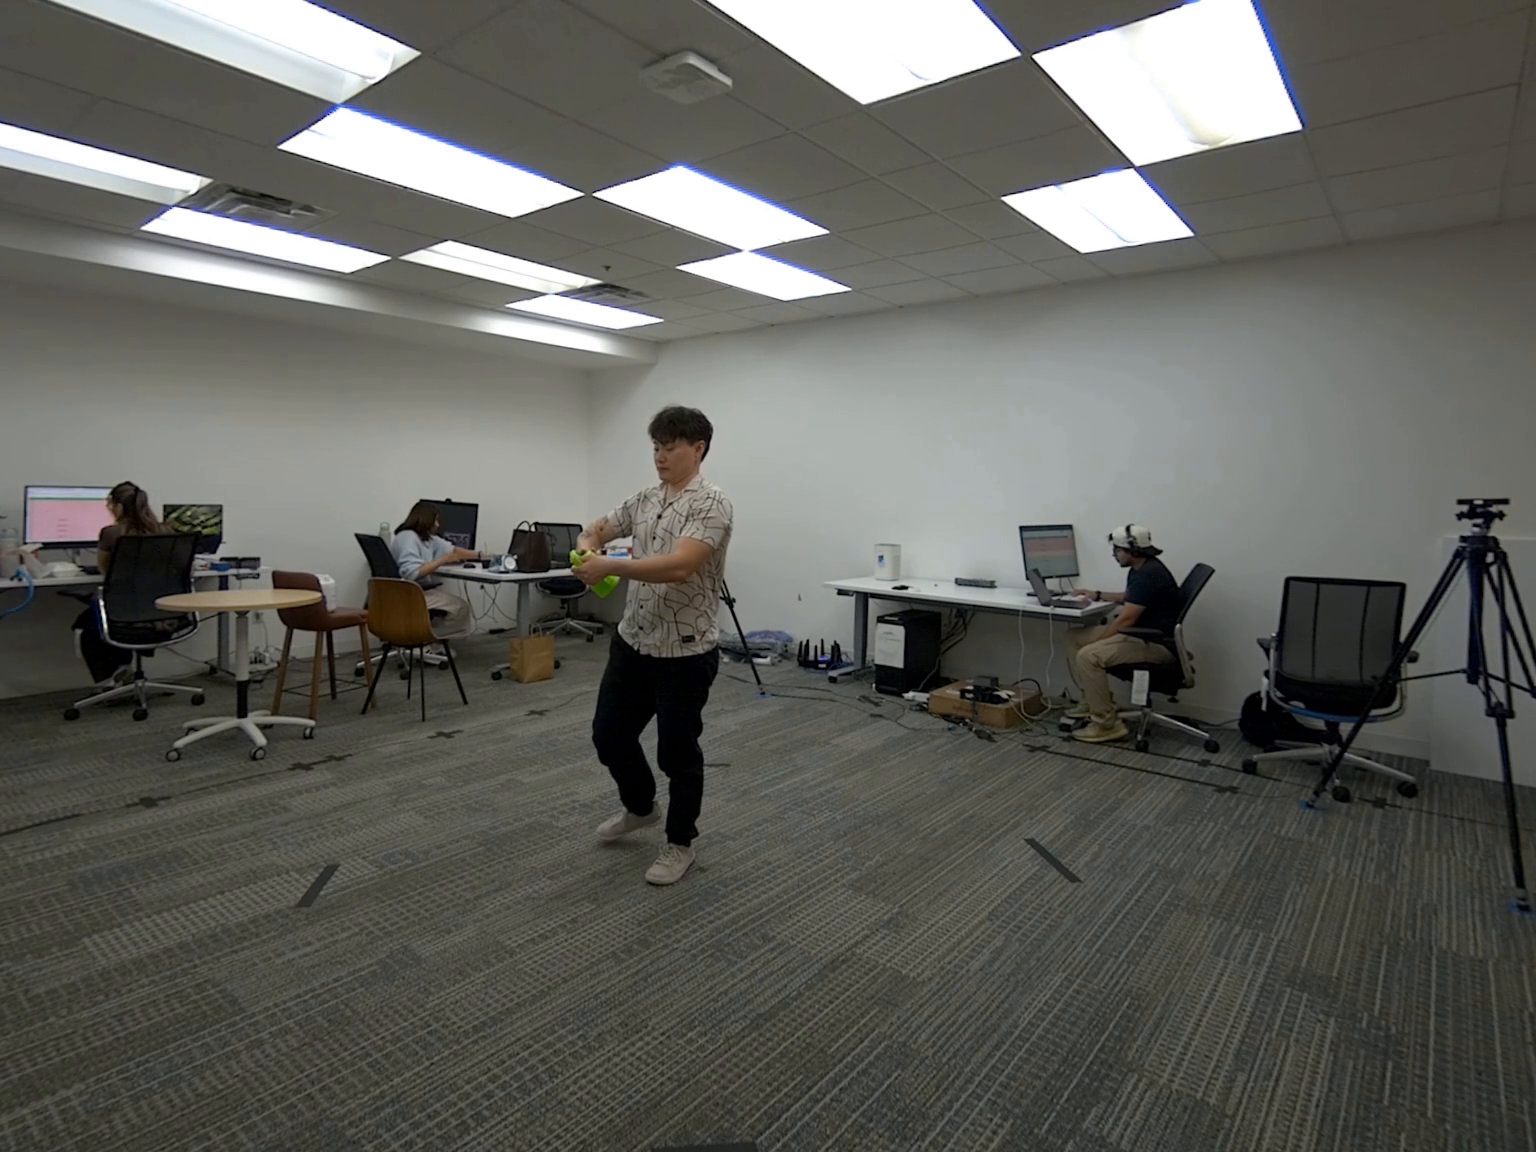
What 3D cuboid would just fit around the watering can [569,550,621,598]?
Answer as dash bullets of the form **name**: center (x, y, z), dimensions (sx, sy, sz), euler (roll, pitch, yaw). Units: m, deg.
- **watering can**: center (-0.578, -0.012, 2.726), dimensions (0.174, 0.098, 0.283), euler (39, 11, -14)
